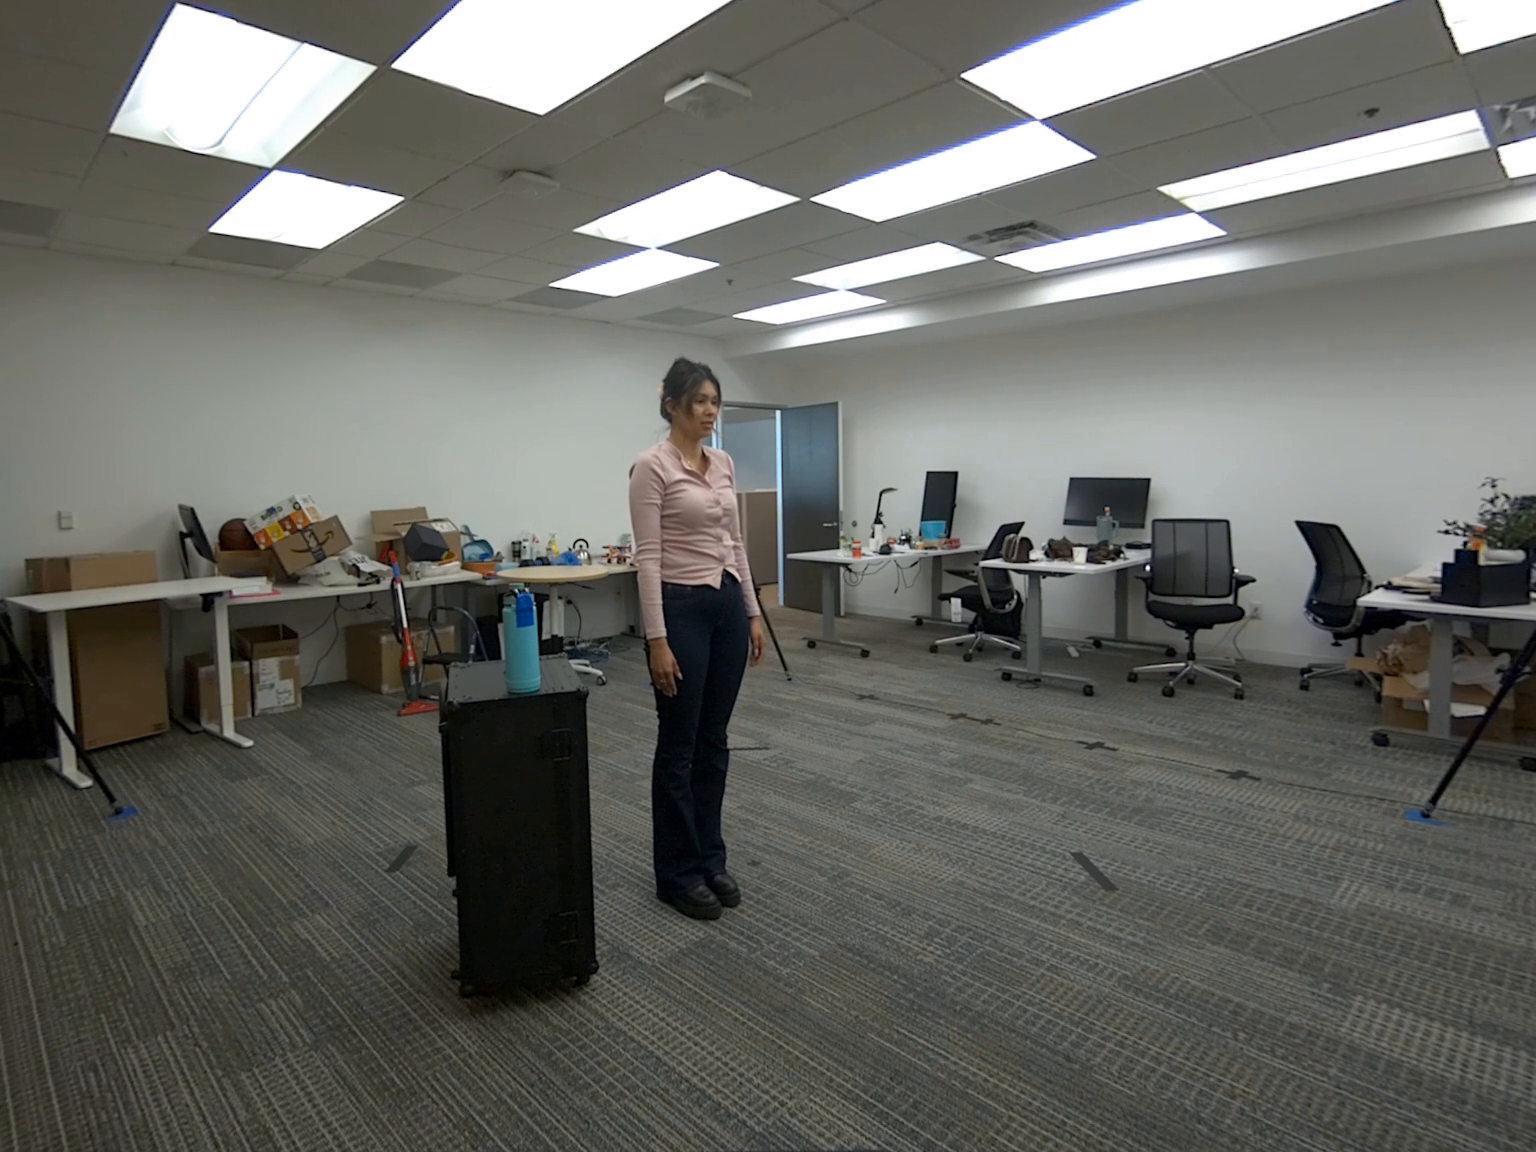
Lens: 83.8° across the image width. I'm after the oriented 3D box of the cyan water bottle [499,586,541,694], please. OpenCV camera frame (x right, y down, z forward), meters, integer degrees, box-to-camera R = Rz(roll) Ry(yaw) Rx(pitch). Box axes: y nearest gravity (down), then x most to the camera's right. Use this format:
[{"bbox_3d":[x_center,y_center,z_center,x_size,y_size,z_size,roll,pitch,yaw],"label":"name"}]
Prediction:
[{"bbox_3d":[-0.657,0.165,2.273,0.092,0.282,0.093,-1,5,-2],"label":"cyan water bottle"}]
